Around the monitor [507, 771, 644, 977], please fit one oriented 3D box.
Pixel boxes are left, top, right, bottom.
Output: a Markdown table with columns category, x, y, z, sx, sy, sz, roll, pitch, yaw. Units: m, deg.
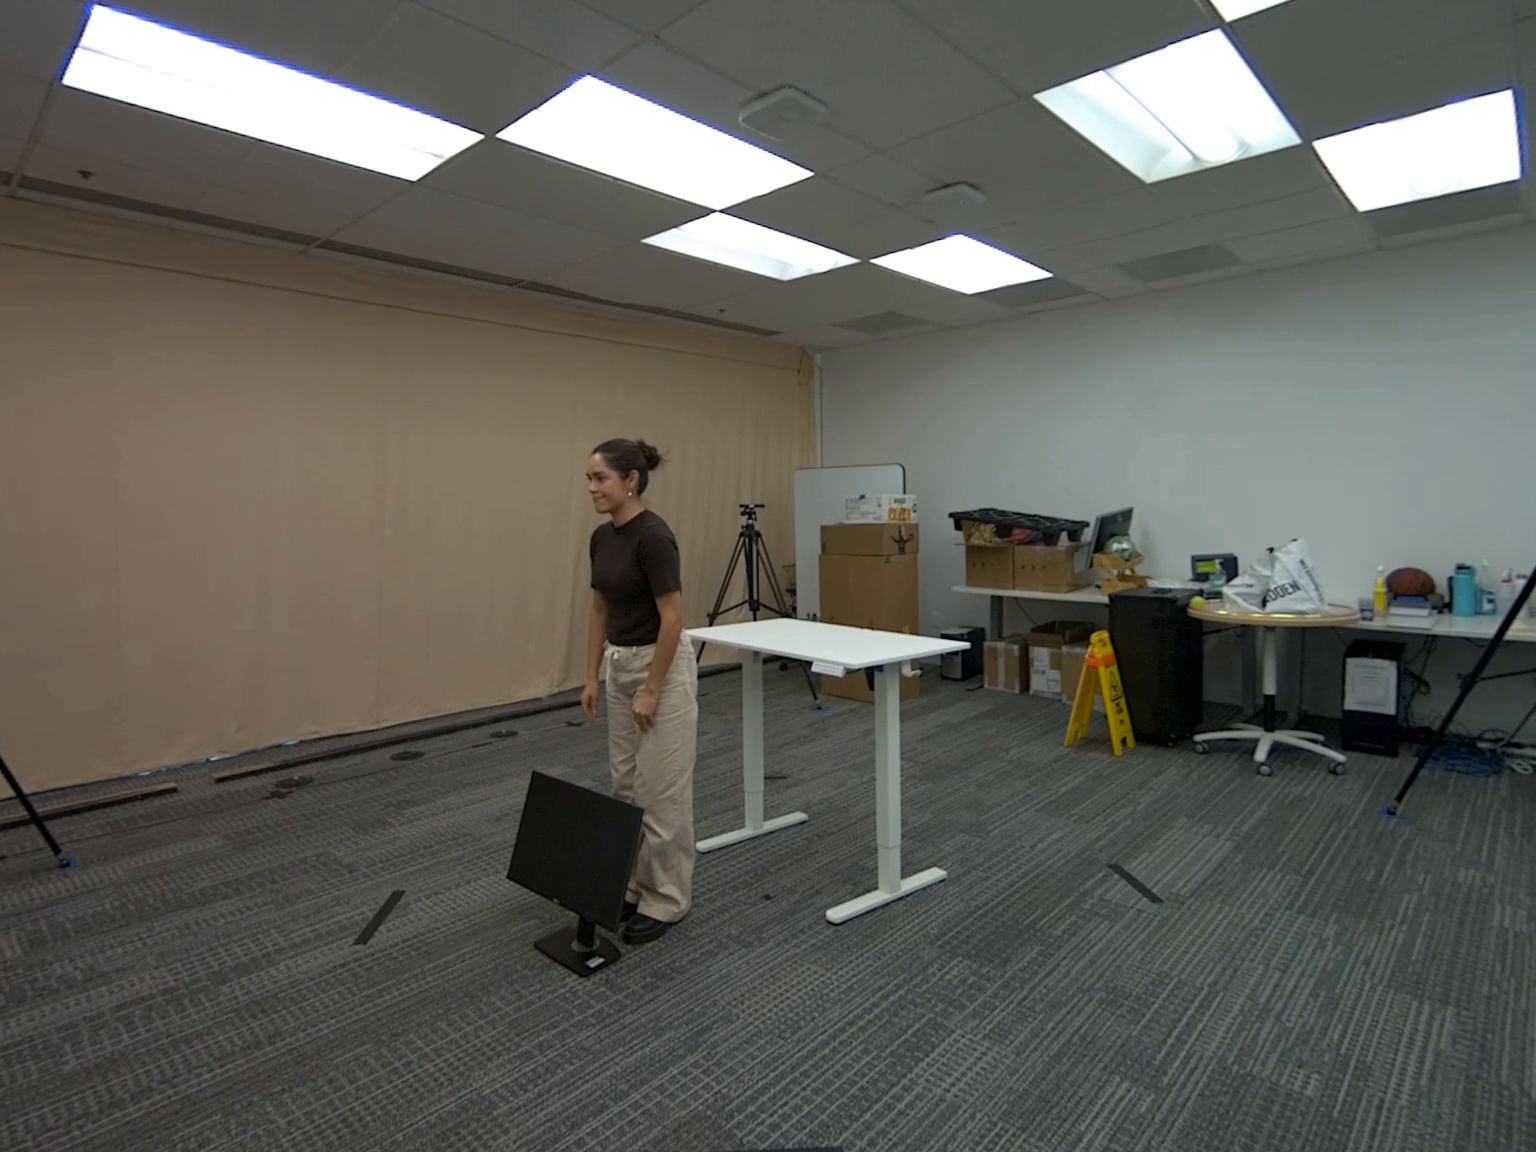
| category | x | y | z | sx | sy | sz | roll | pitch | yaw |
| --- | --- | --- | --- | --- | --- | --- | --- | --- | --- |
| monitor | -0.589 | 0.927 | 2.638 | 0.557 | 0.522 | 0.181 | 3 | 2 | 39 |
